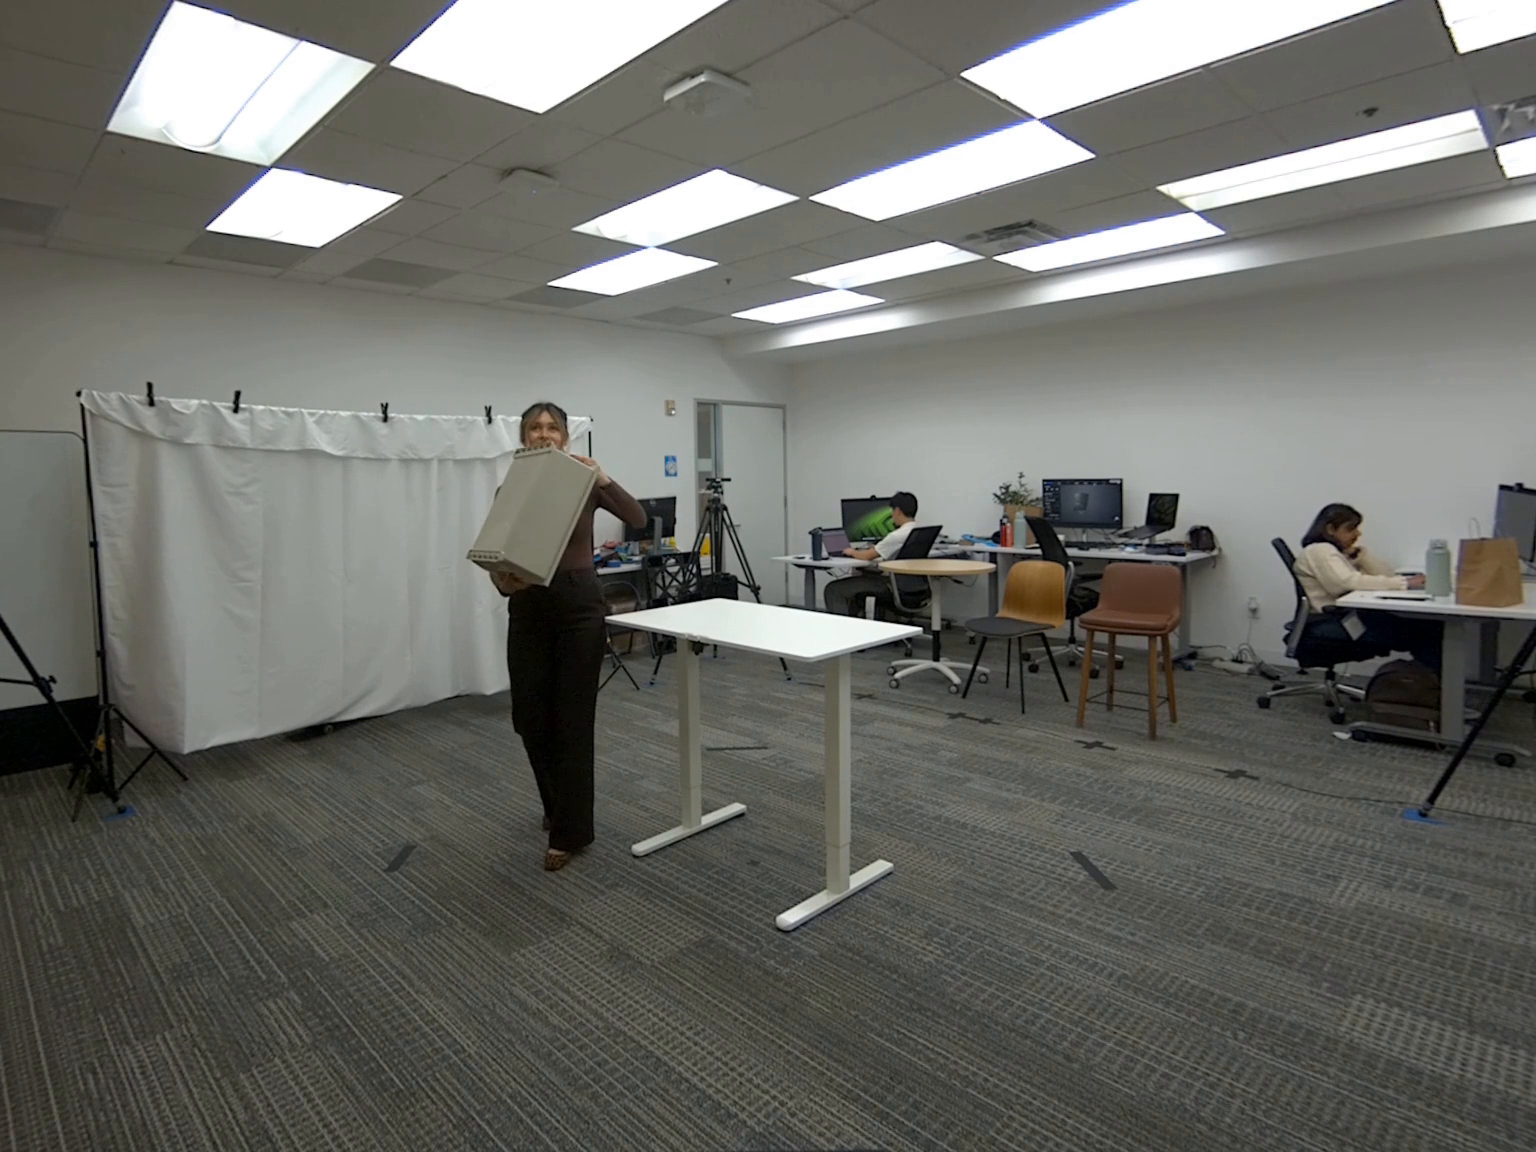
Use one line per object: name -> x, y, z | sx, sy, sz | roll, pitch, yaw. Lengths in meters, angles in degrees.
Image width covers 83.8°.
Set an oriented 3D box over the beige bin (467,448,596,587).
beige bin -> -0.785, -0.200, 2.819 | 0.183, 0.425, 0.388 | 30, -16, -32
